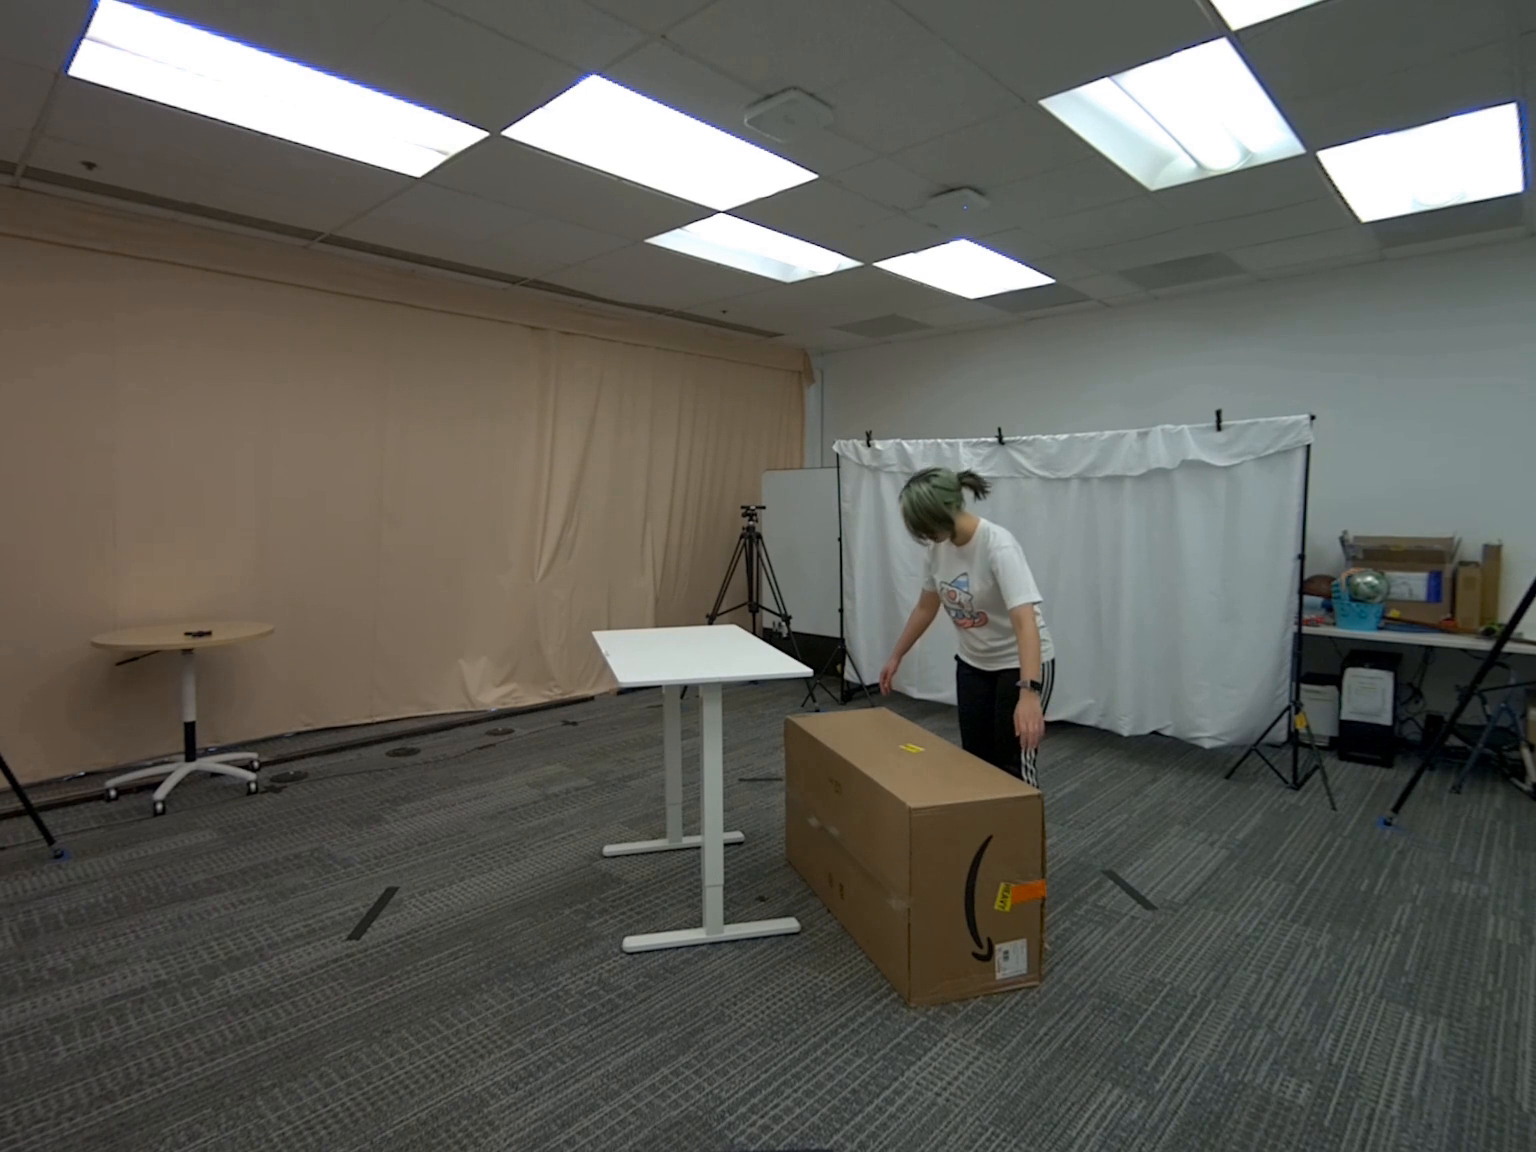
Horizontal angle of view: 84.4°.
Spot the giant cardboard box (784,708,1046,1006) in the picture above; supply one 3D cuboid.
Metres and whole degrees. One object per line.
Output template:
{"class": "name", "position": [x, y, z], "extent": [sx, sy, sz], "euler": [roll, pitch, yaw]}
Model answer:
{"class": "giant cardboard box", "position": [0.436, 0.862, 2.856], "extent": [0.439, 0.582, 1.048], "euler": [-1, 5, -18]}
